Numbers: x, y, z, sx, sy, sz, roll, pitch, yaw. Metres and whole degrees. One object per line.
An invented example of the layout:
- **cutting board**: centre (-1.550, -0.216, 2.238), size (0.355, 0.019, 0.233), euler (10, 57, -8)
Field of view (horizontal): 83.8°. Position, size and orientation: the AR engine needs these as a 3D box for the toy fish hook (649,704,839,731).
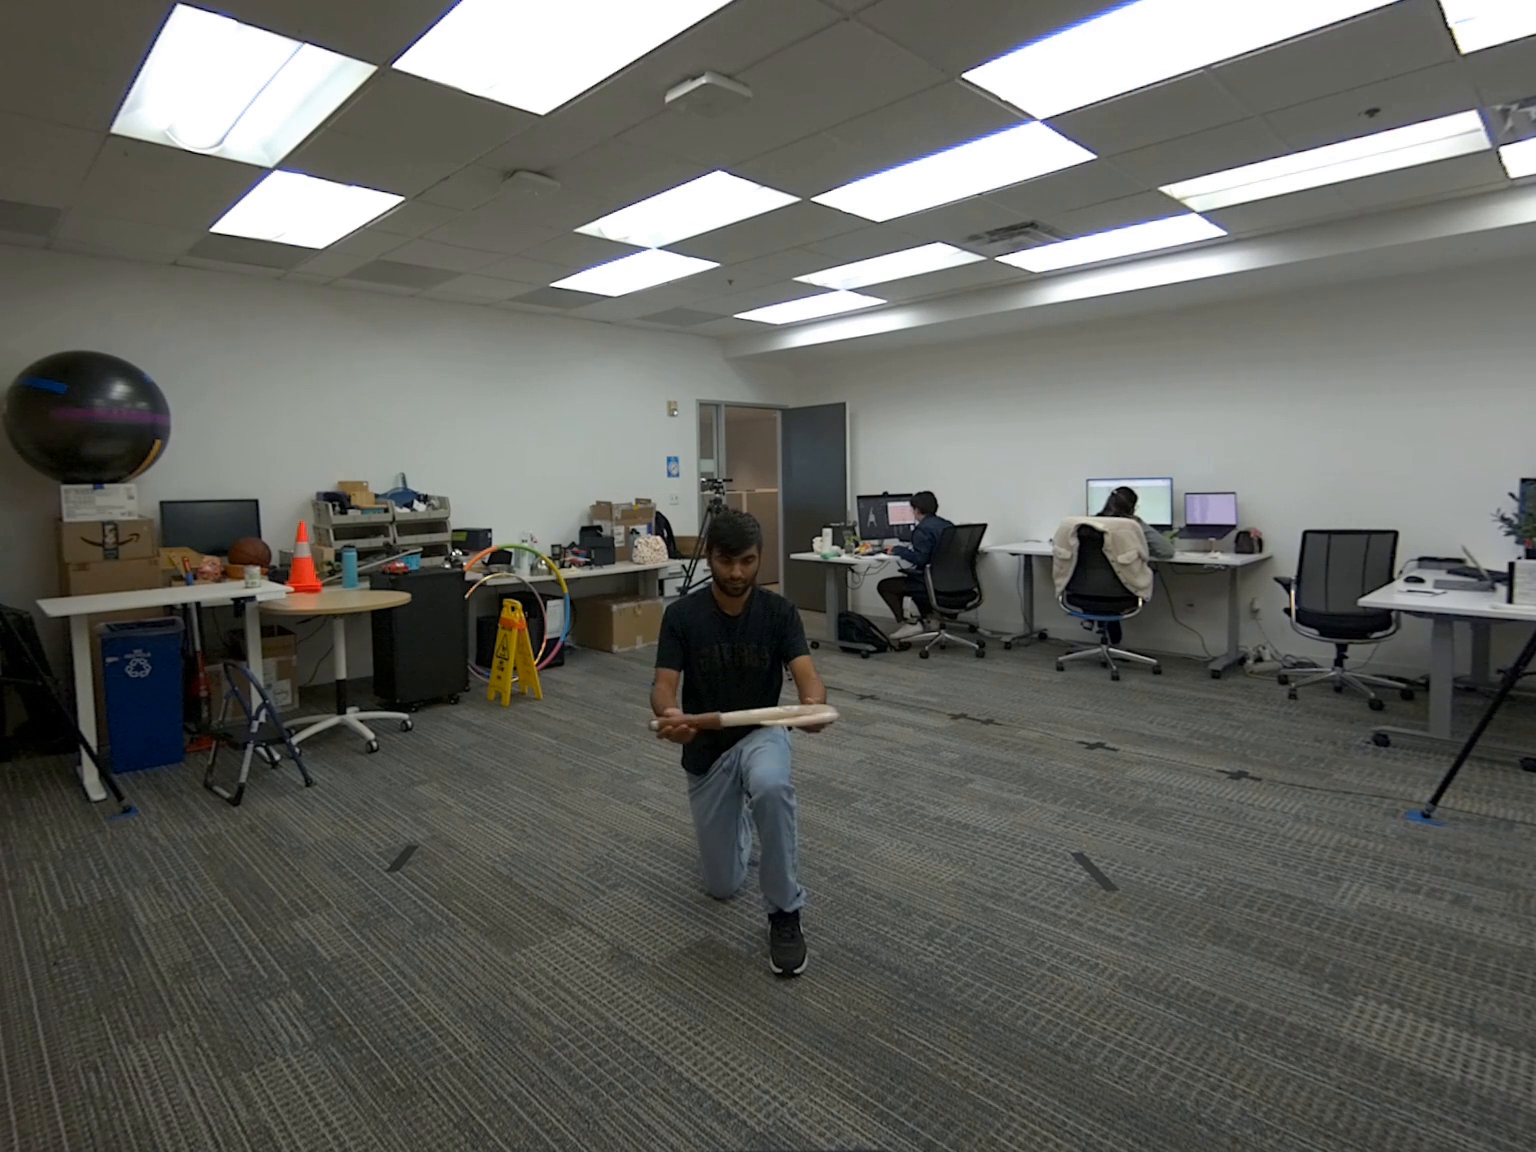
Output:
- **toy fish hook**: centre (-0.084, 0.374, 2.264), size (0.508, 0.049, 0.222), euler (-6, -6, 4)
